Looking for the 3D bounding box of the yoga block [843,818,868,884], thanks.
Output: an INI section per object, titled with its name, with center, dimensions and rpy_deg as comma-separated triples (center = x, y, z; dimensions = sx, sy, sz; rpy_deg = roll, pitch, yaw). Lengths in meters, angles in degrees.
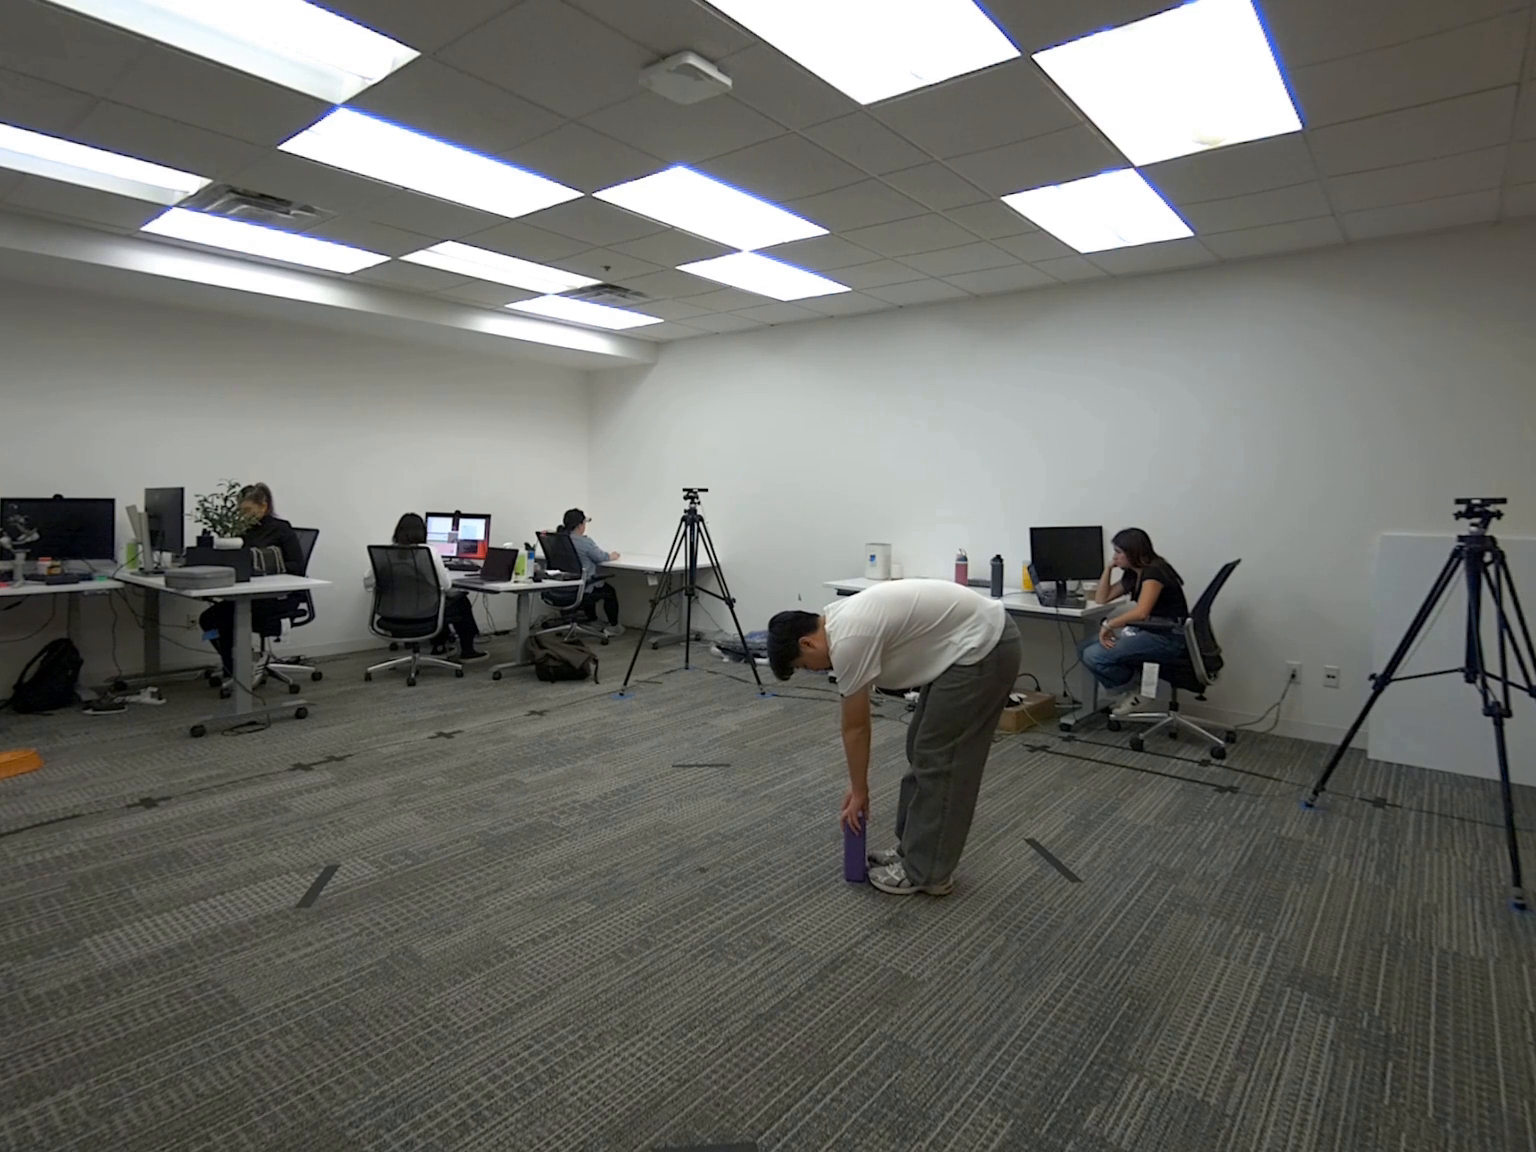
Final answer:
[yoga block]
center = 0.320, 0.972, 3.113
dimensions = 0.077, 0.229, 0.149
rpy_deg = 1, 3, 1
